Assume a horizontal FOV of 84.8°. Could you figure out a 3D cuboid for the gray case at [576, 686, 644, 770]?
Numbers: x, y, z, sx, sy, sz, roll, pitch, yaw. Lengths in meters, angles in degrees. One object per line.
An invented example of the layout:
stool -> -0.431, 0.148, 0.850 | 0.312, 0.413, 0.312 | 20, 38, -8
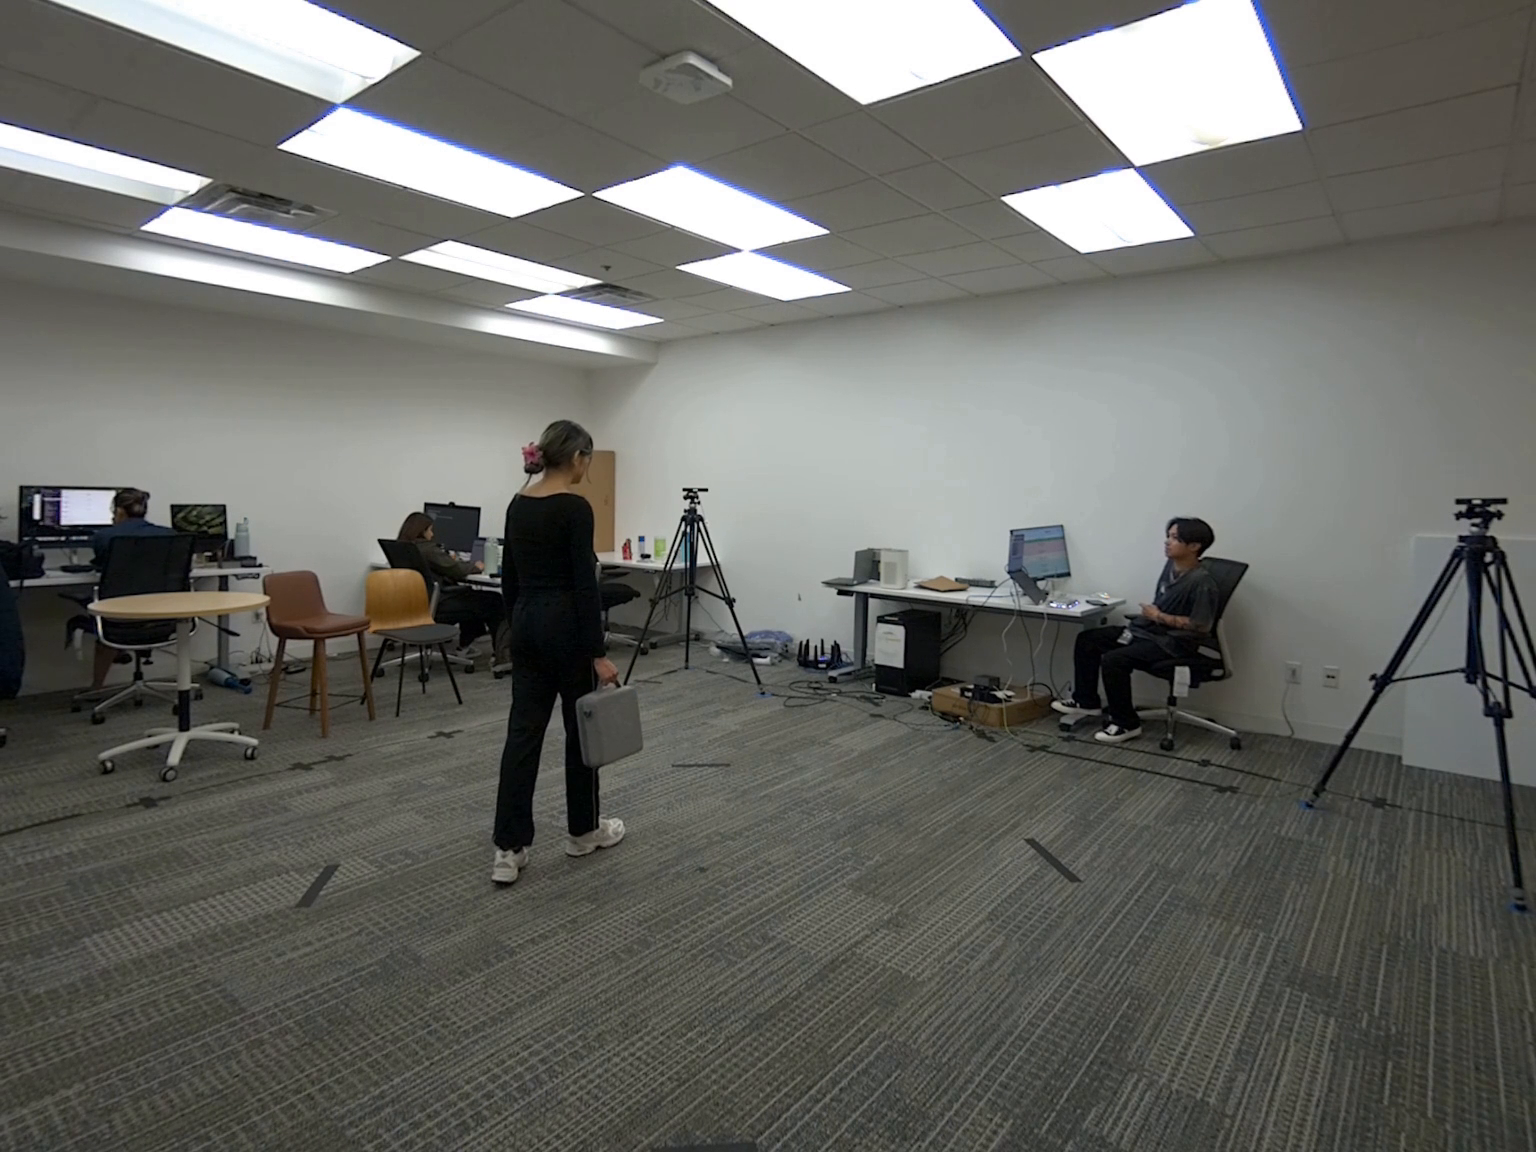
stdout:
gray case -> -0.587, 0.537, 3.090 | 0.107, 0.261, 0.250 | -6, 1, 30
